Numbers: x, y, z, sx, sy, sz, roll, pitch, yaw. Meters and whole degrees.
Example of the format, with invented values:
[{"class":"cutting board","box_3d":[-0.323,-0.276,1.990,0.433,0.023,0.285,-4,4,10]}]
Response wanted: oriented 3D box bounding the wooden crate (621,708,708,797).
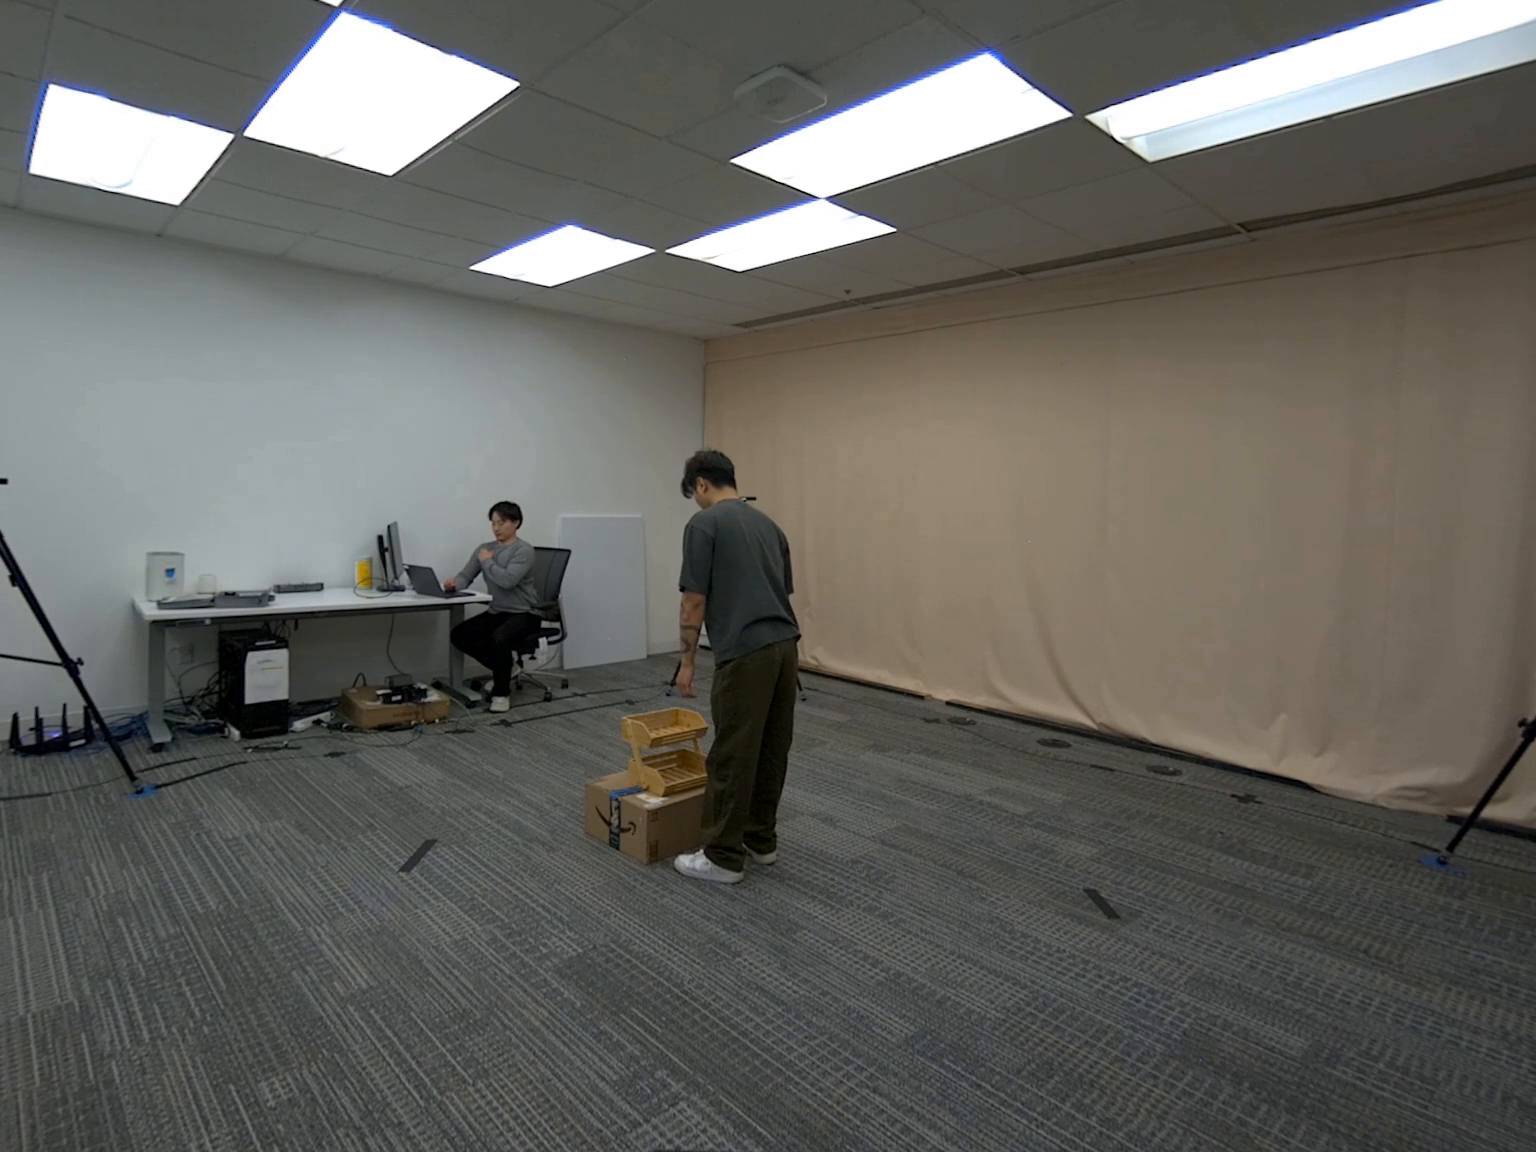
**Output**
[{"class":"wooden crate","box_3d":[-0.411,0.719,3.509,0.317,0.273,0.309,-2,4,-44]}]
